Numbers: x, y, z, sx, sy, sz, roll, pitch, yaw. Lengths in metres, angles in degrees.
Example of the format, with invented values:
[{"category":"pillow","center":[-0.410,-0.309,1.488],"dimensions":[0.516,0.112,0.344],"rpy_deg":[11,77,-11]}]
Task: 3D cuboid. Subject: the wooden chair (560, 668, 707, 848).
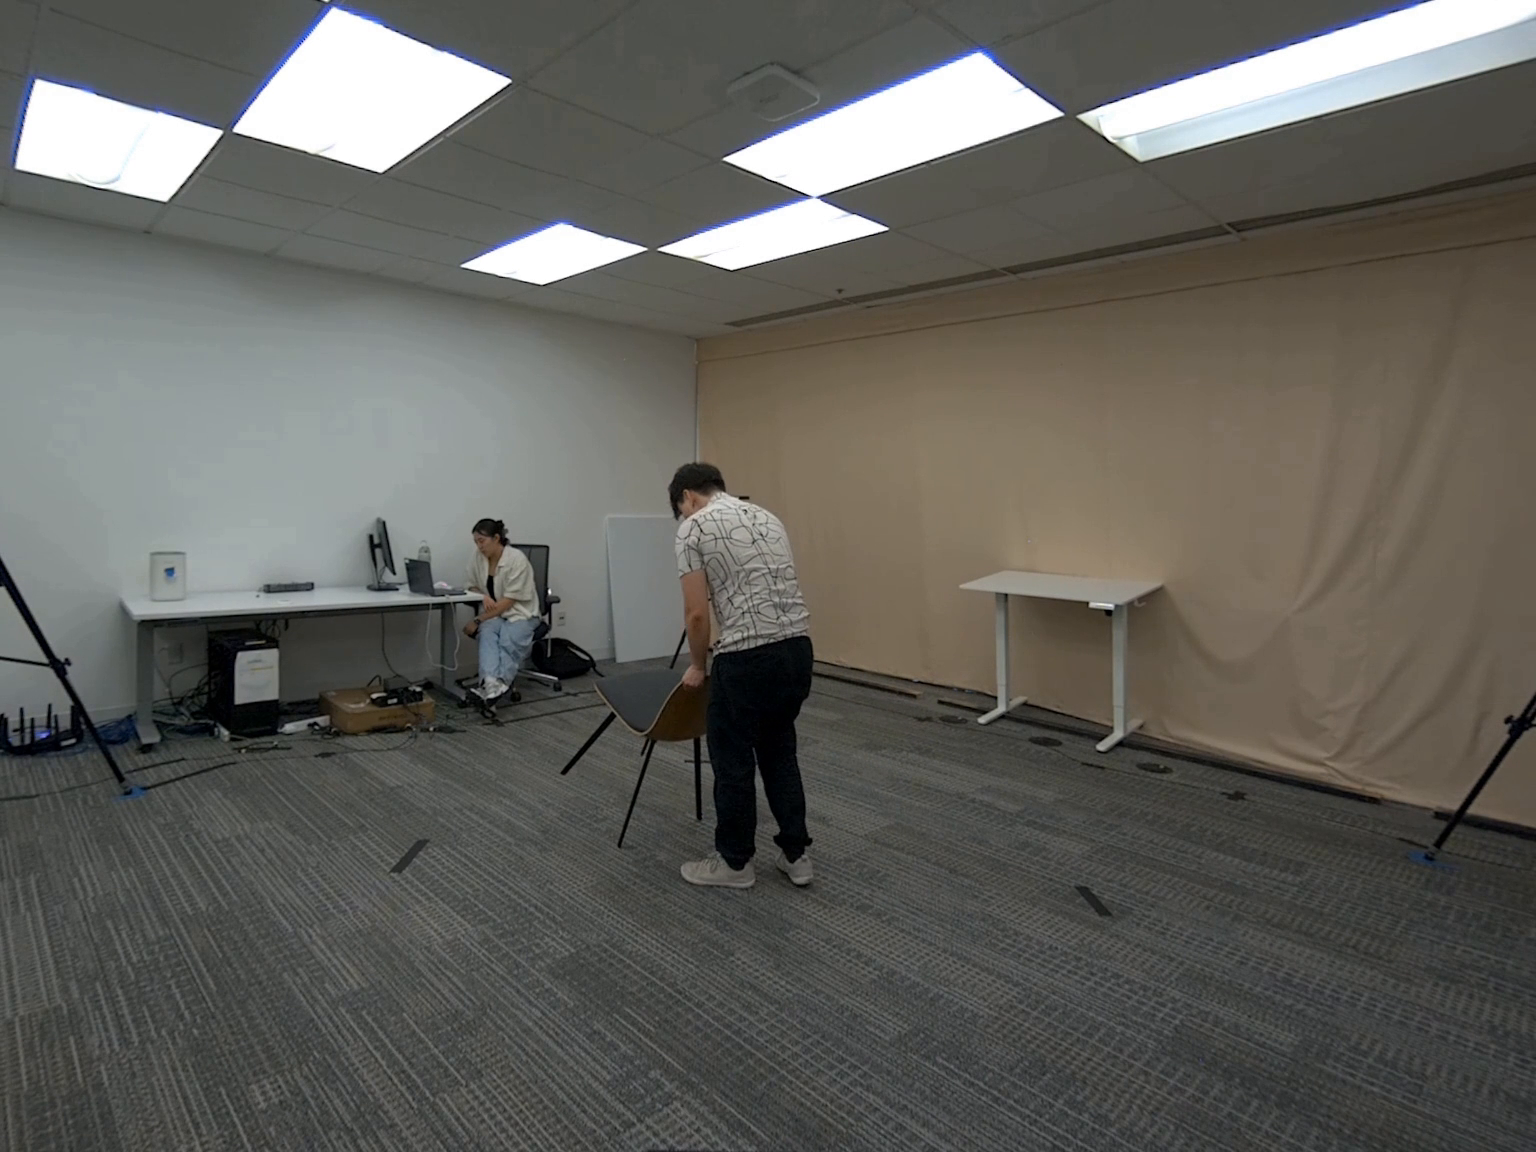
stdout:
[{"category":"wooden chair","center":[-0.448,0.576,3.466],"dimensions":[0.467,0.871,0.539],"rpy_deg":[-2,35,-46]}]
